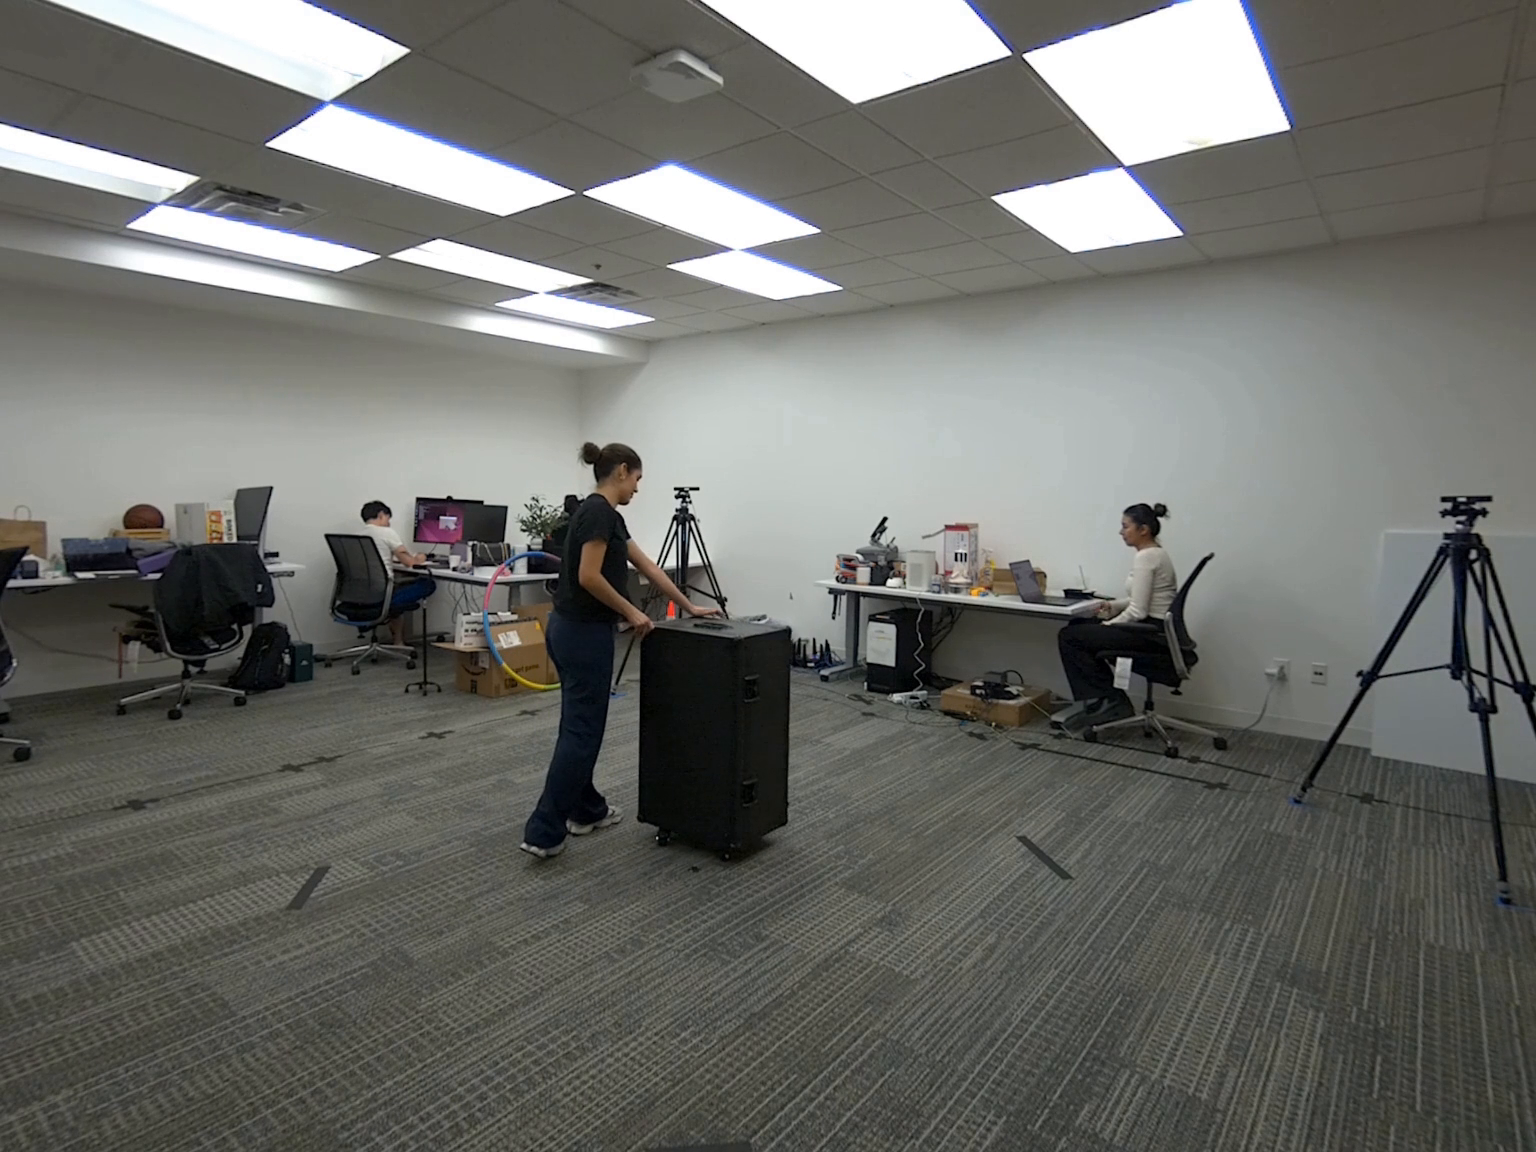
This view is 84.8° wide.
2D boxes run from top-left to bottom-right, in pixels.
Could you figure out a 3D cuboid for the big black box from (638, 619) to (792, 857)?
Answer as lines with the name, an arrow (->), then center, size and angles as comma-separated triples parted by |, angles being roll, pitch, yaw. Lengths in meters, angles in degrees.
big black box -> -0.192, 0.619, 3.369 | 0.538, 0.861, 0.384 | 2, 2, 37
